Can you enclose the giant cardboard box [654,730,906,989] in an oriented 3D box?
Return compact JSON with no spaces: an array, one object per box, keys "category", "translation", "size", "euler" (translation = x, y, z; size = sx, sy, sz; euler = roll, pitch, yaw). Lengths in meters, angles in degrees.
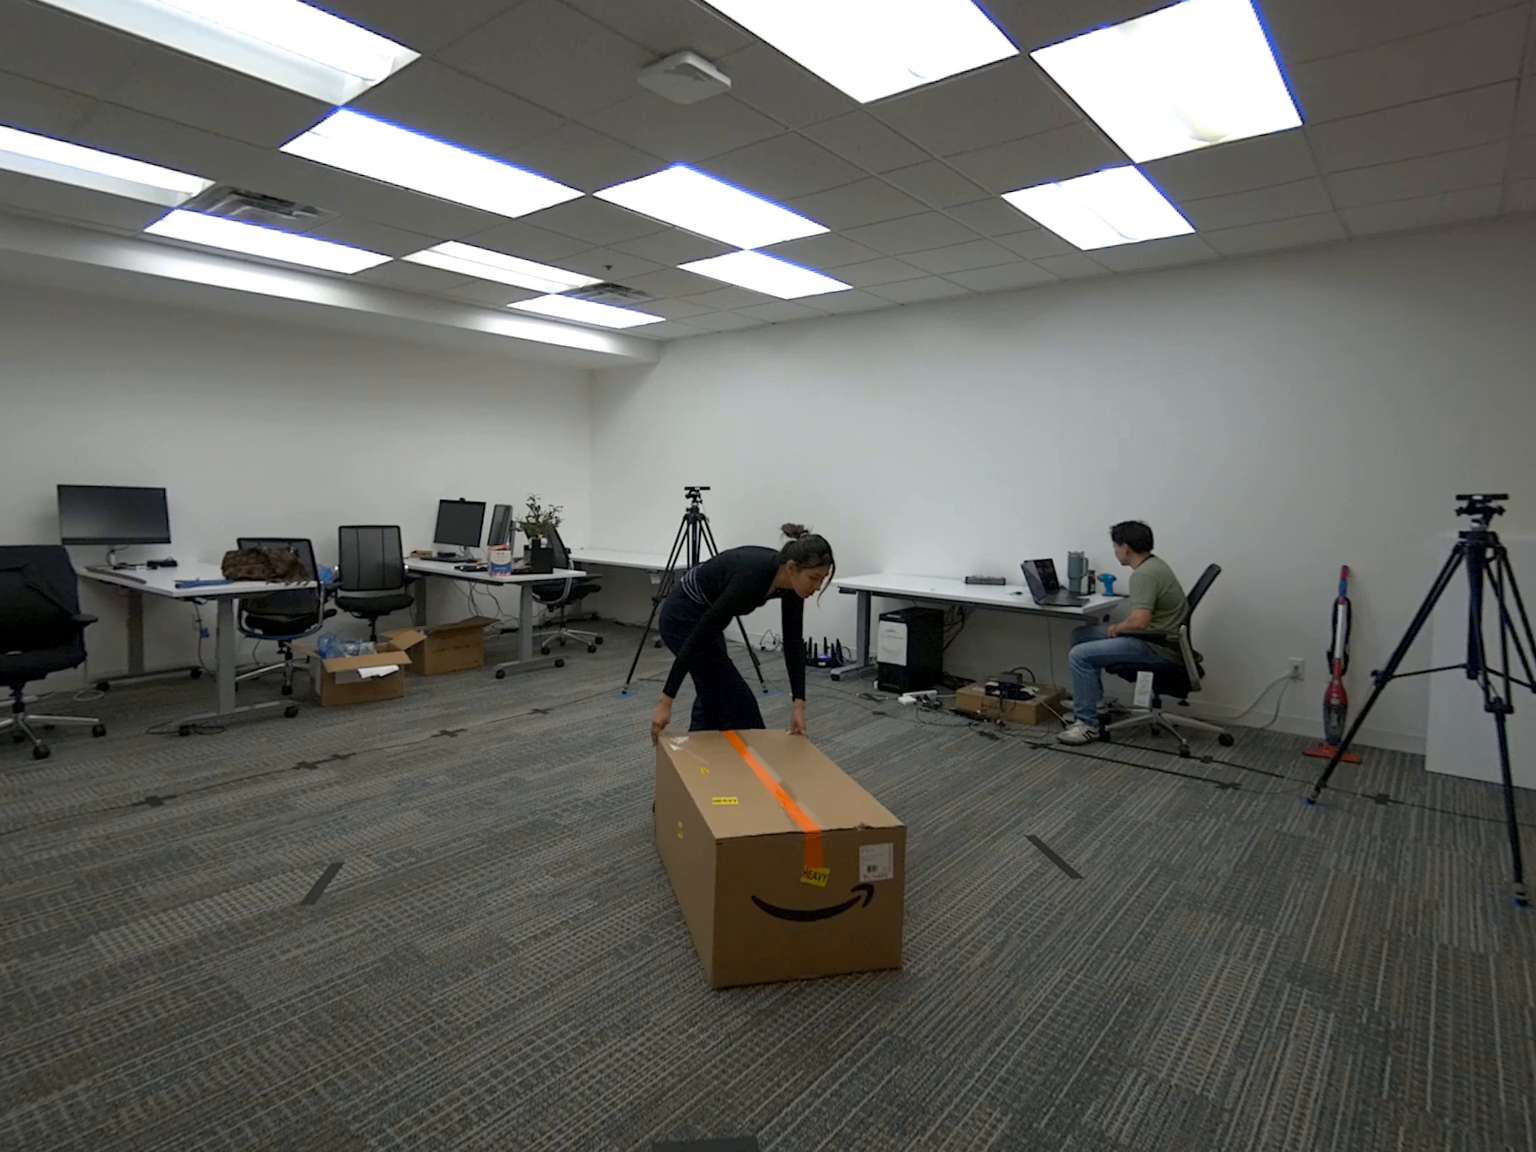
[{"category":"giant cardboard box","translation":[-0.029,0.874,2.891],"size":[0.568,0.425,1.046],"euler":[0,5,-16]}]
